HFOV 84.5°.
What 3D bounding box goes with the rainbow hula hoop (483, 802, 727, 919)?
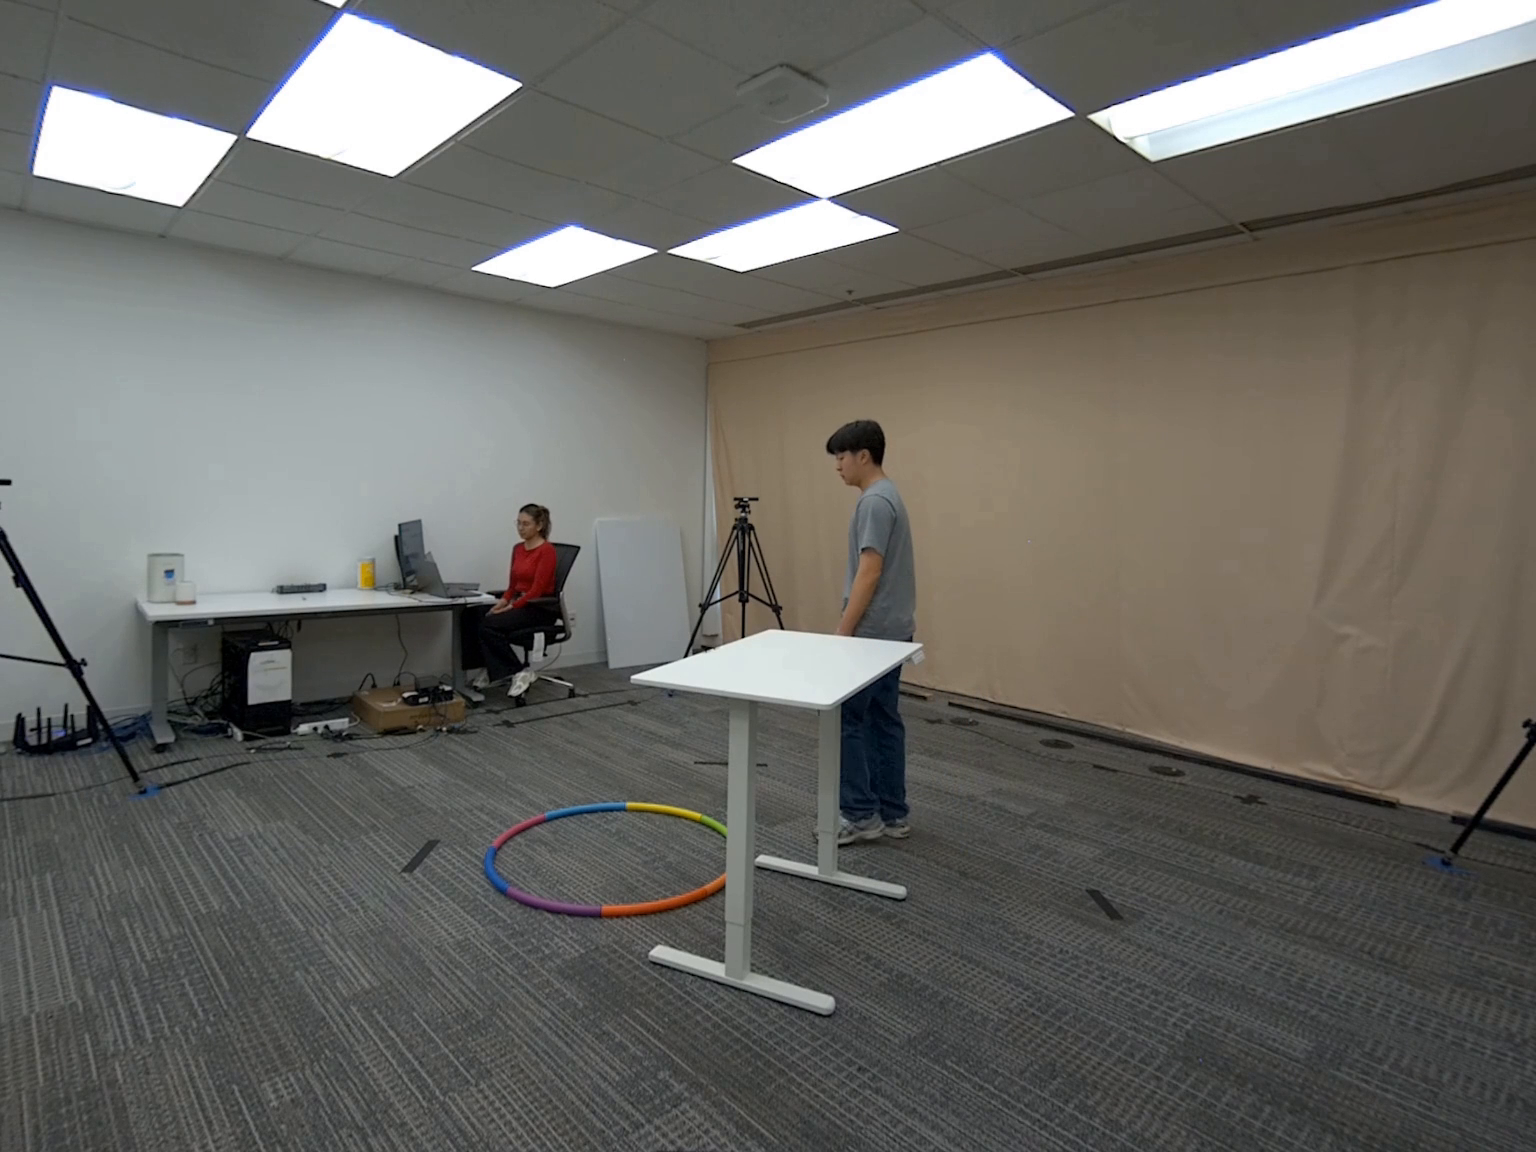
[{"bbox_3d":[-0.593,1.053,3.264,0.978,0.035,0.982,2,5,-1],"label":"rainbow hula hoop"}]
